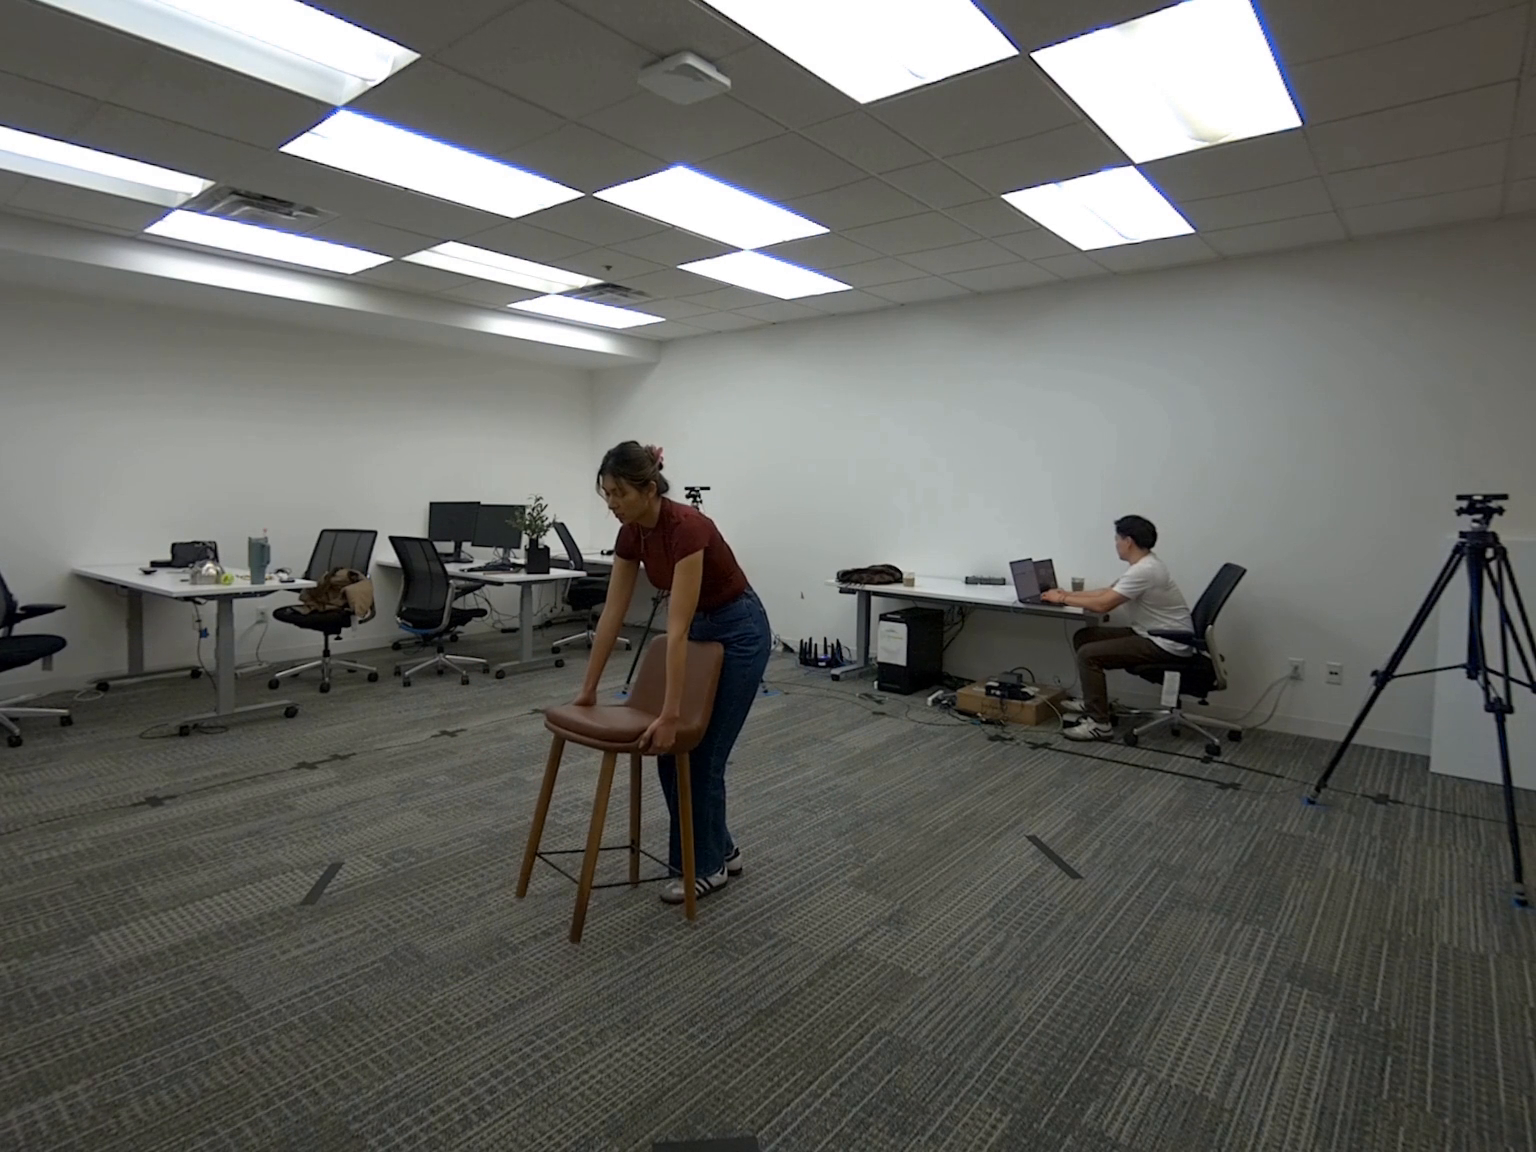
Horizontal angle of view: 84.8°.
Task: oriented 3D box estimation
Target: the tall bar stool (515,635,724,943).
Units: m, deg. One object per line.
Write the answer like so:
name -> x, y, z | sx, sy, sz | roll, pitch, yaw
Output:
tall bar stool -> -0.481, 0.624, 2.734 | 0.451, 0.894, 0.471 | 11, -6, -38
